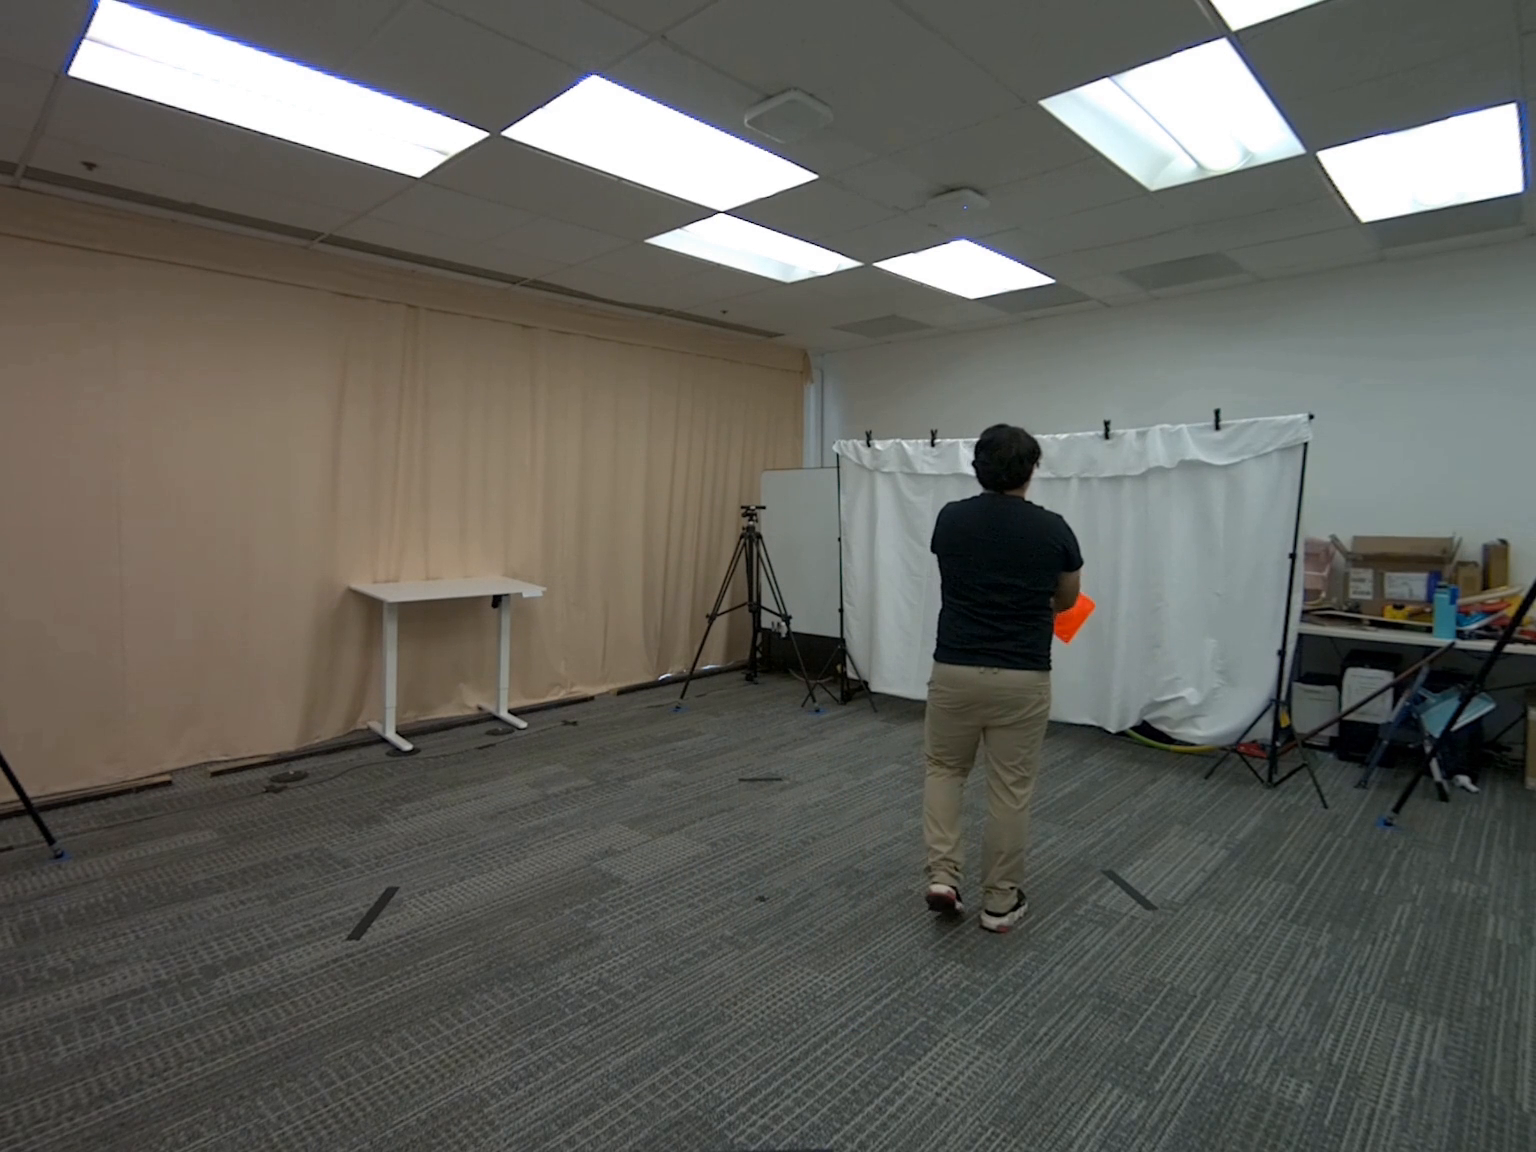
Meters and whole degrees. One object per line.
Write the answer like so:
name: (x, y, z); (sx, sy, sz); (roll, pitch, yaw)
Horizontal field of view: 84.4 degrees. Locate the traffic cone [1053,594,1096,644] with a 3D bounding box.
traffic cone: (1.047, 0.122, 3.194); (0.371, 0.205, 0.210); (4, 30, -49)
